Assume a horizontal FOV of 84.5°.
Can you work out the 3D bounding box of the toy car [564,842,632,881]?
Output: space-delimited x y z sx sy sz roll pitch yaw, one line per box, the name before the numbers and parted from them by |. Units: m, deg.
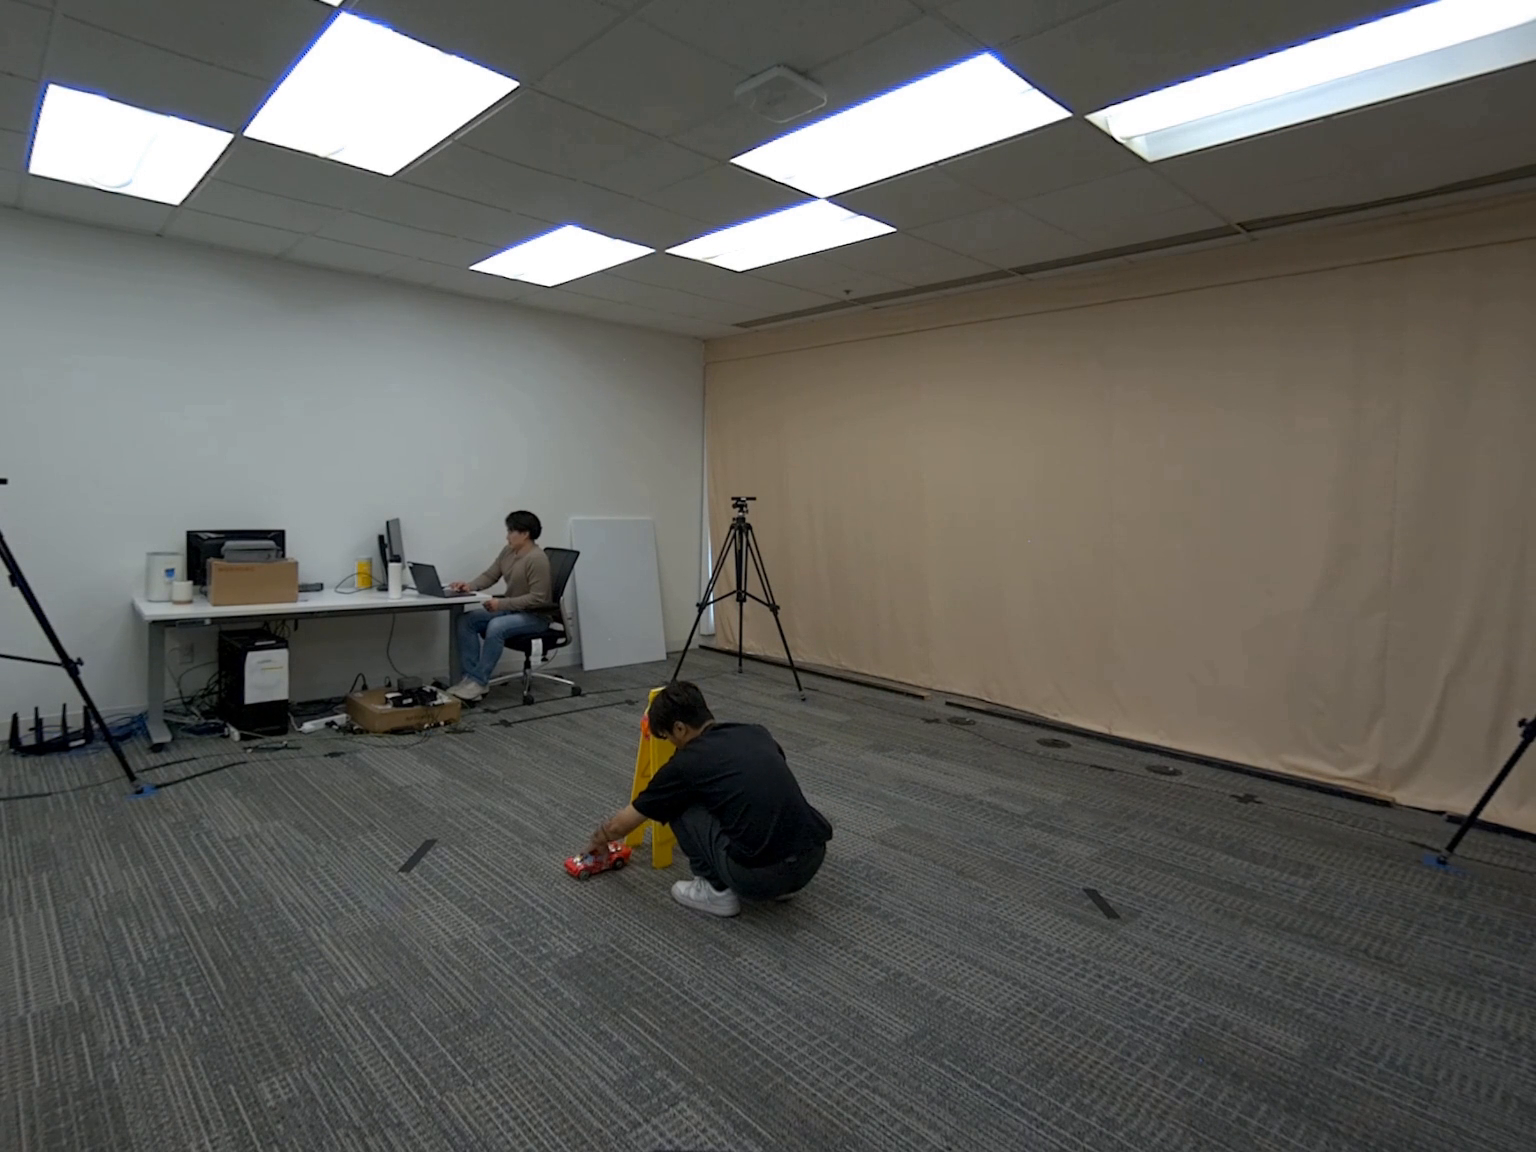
toy car | -0.630 1.054 3.143 0.250 0.082 0.133 -17 13 -38
